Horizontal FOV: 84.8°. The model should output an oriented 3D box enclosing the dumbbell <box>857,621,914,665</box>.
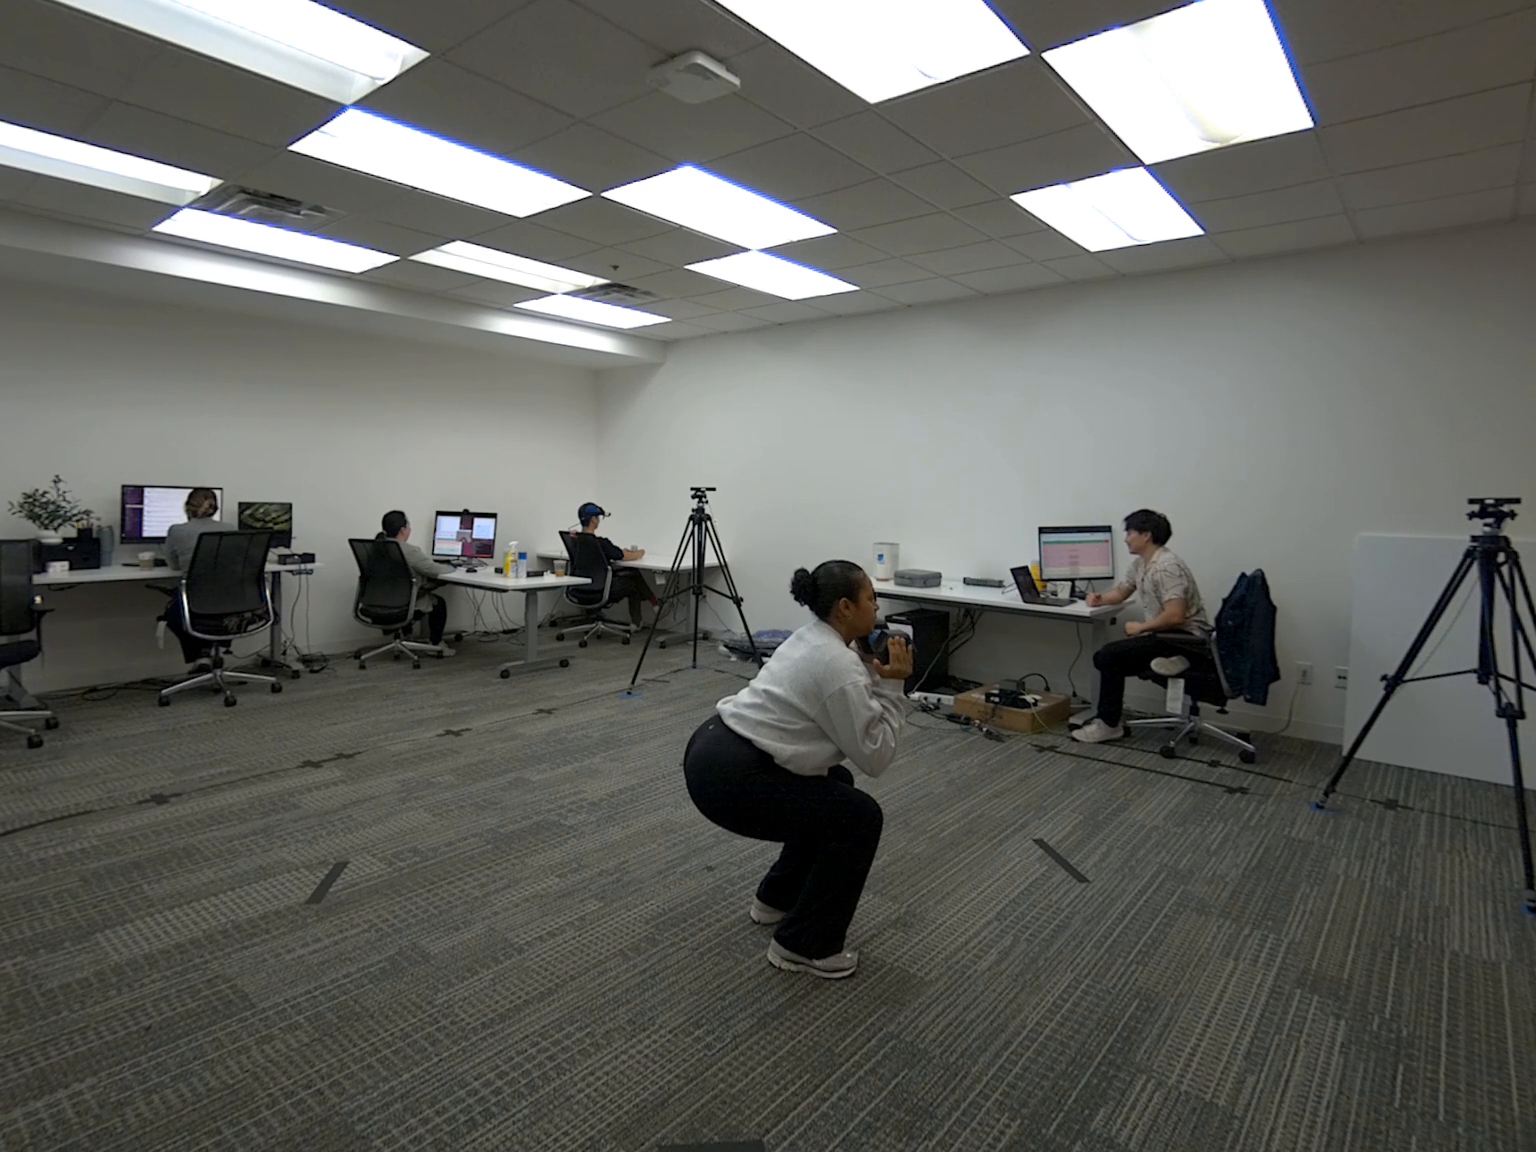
[{"bbox_3d":[0.337,0.184,2.589,0.108,0.121,0.299,-33,12,-7],"label":"dumbbell"}]
